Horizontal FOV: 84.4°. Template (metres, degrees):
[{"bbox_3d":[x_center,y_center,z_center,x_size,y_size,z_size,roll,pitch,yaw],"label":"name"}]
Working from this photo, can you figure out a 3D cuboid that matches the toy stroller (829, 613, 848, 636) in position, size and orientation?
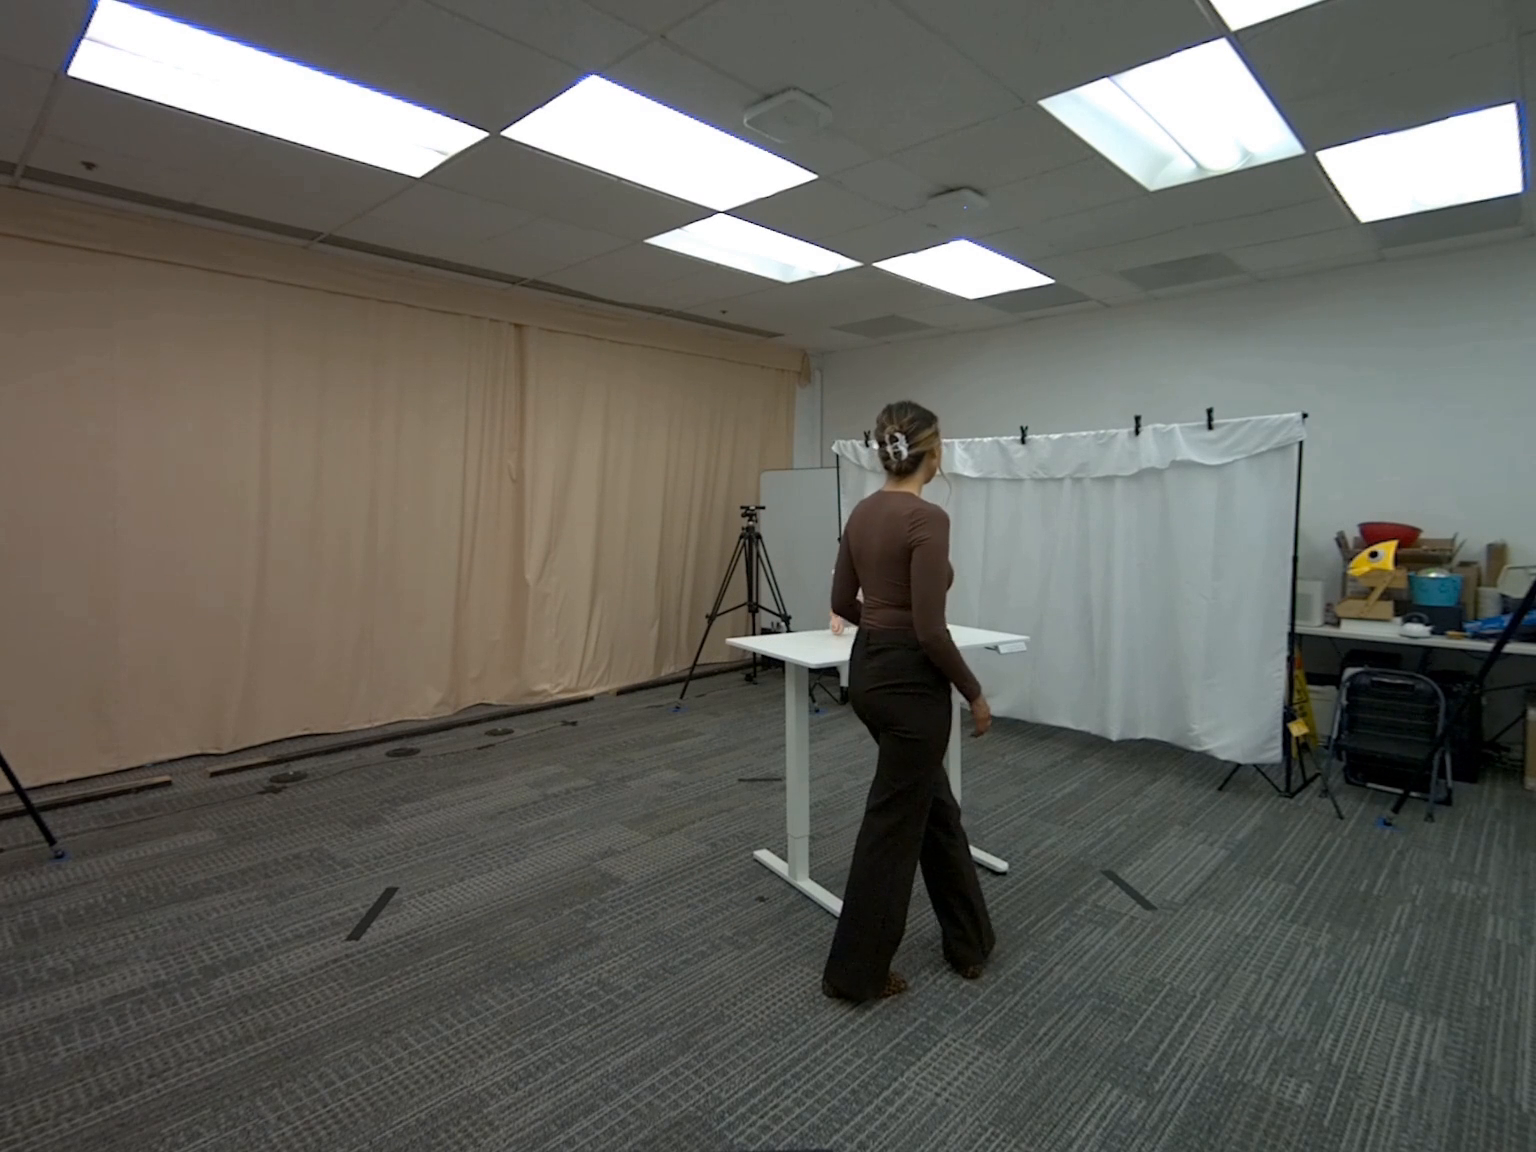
[{"bbox_3d":[0.411,0.018,3.177,0.273,0.531,0.354,-2,18,-40],"label":"toy stroller"}]
